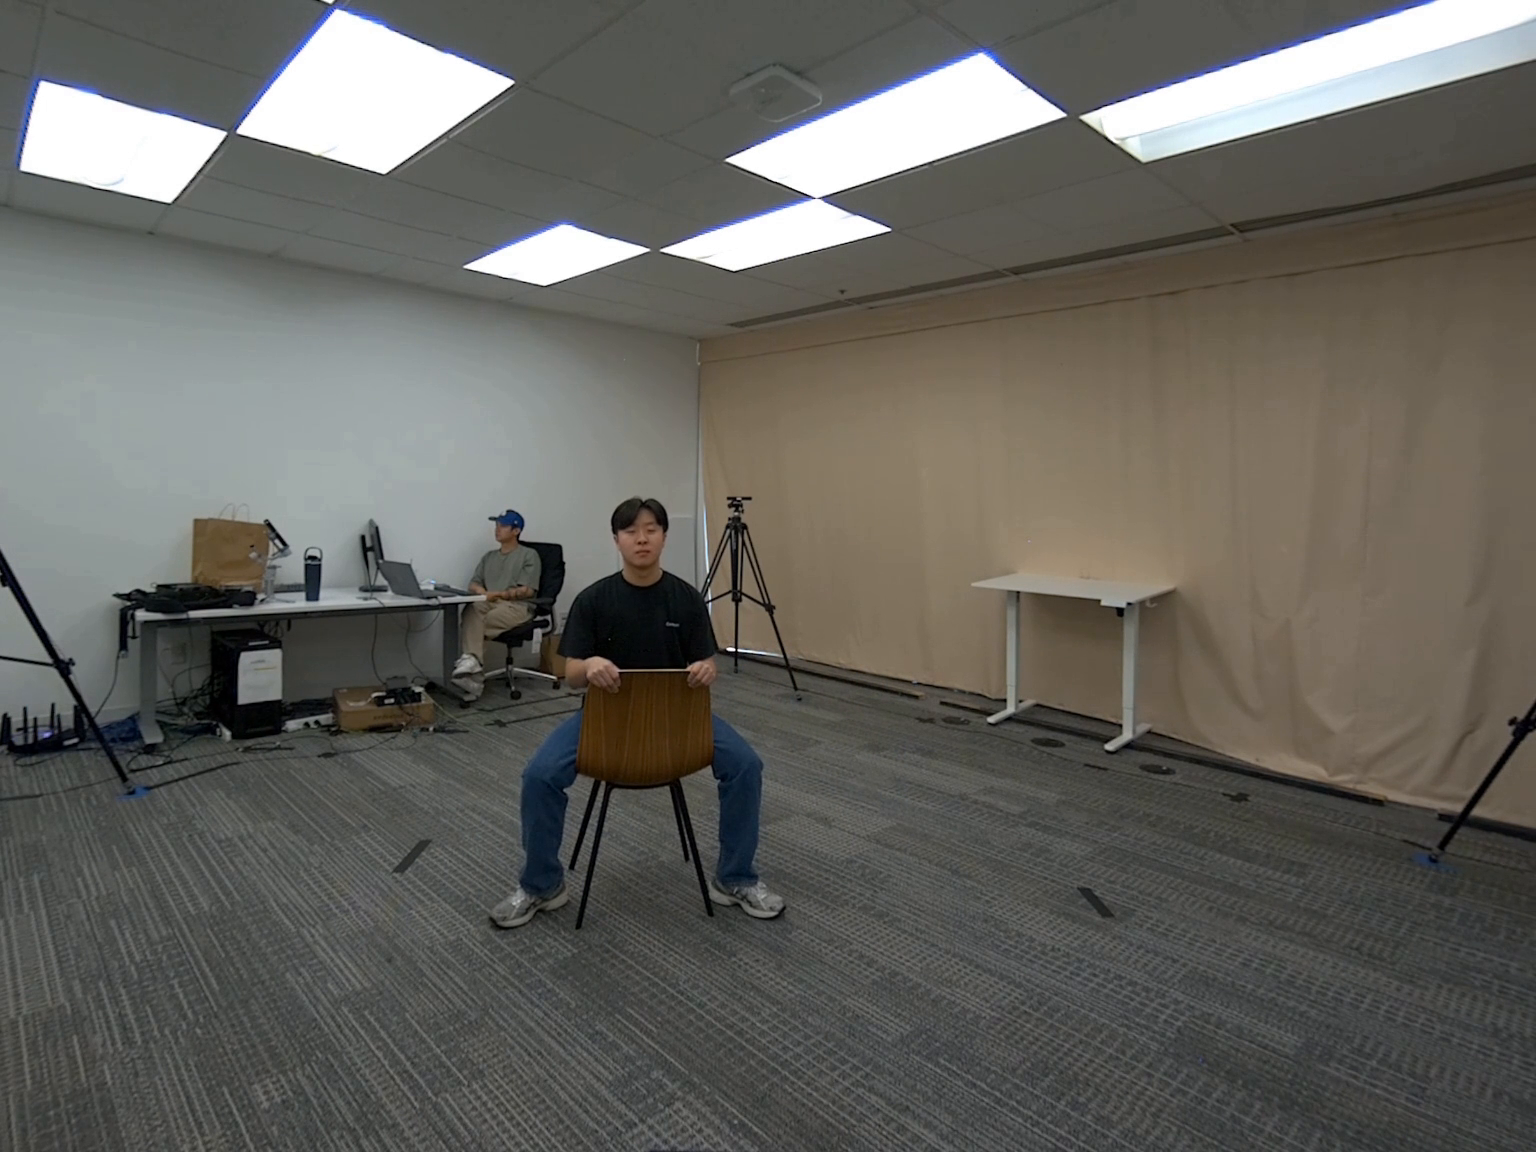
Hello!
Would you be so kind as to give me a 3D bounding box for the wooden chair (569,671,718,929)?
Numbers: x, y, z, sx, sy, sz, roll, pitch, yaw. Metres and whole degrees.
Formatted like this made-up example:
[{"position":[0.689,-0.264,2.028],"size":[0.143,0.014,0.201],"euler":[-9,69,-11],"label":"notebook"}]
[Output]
[{"position":[-0.452,0.691,2.943],"size":[0.473,0.873,0.532],"euler":[0,7,-15],"label":"wooden chair"}]
